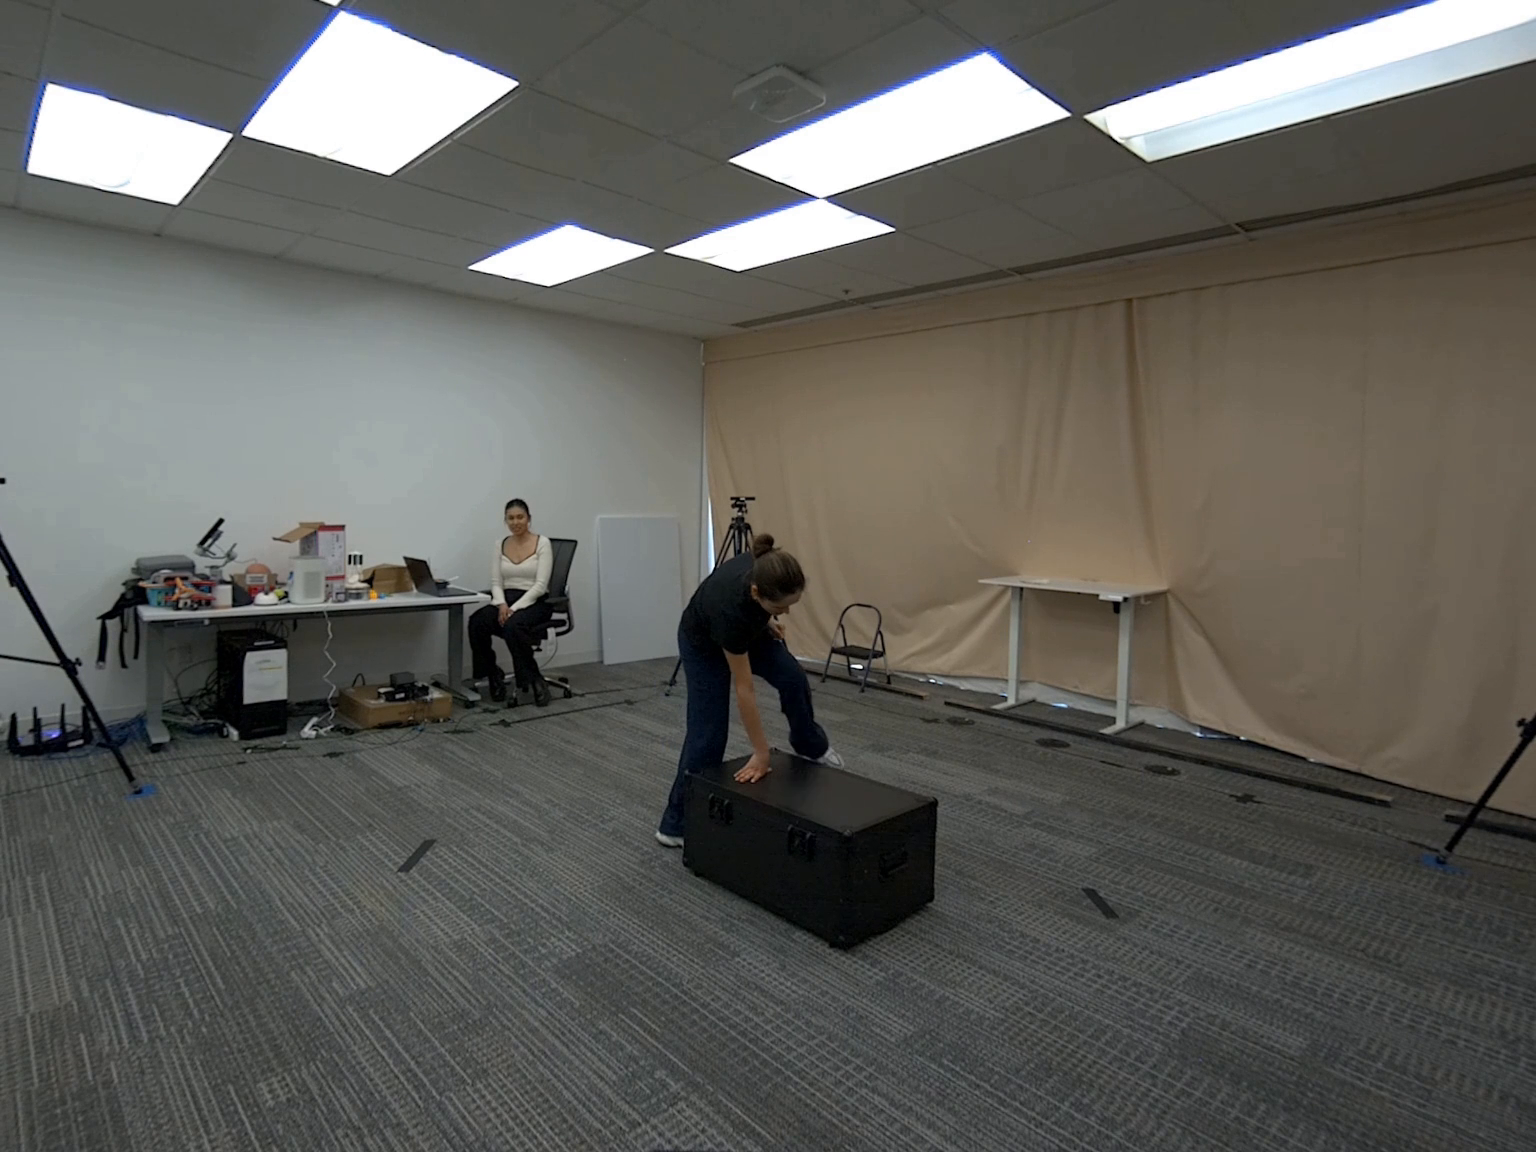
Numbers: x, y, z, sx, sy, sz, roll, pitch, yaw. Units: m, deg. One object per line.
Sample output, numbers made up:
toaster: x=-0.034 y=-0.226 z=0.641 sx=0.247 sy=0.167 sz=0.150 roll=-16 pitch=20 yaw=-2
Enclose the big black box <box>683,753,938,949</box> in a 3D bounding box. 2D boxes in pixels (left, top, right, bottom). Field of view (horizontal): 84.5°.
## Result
big black box: x=0.104 y=0.916 z=3.014 sx=0.509 sy=0.395 sz=0.883 roll=-3 pitch=5 yaw=-44
